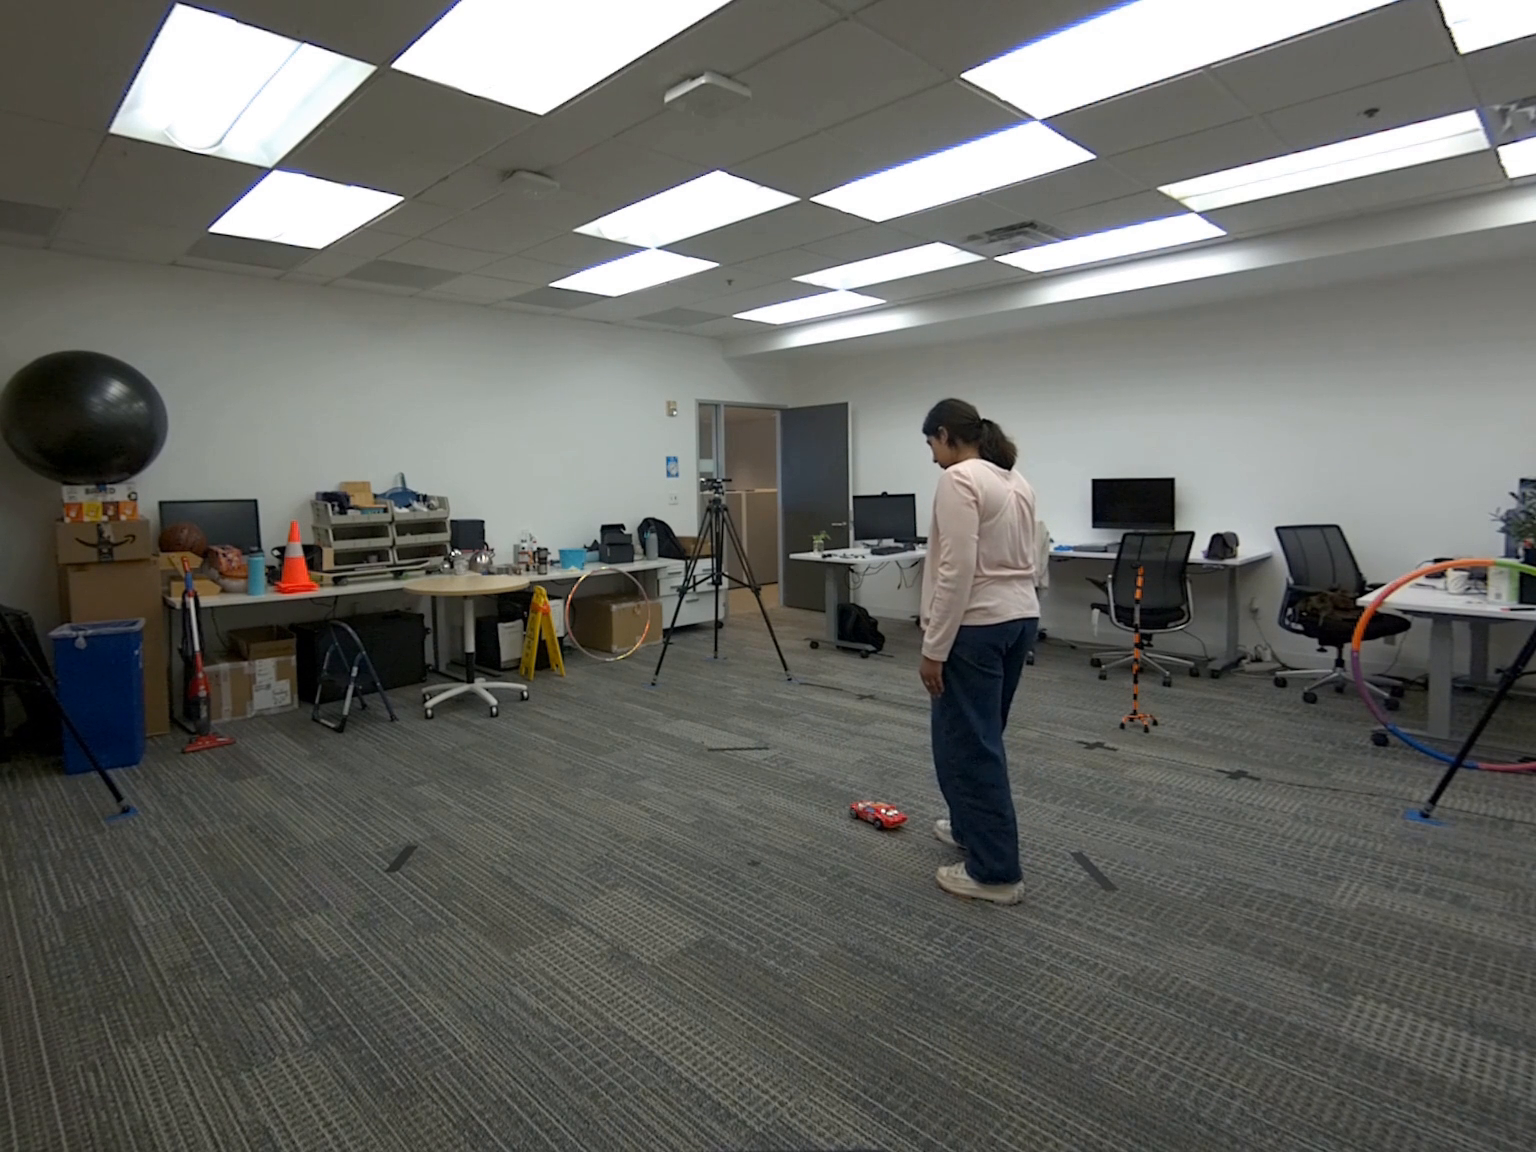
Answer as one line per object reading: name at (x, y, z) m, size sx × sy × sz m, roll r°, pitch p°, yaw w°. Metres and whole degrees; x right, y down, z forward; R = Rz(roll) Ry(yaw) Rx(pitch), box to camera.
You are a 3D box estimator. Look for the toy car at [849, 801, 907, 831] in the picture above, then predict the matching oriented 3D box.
toy car at (0.452, 0.965, 3.450) m, size 0.127 × 0.083 × 0.260 m, roll -4°, pitch -5°, yaw -35°
